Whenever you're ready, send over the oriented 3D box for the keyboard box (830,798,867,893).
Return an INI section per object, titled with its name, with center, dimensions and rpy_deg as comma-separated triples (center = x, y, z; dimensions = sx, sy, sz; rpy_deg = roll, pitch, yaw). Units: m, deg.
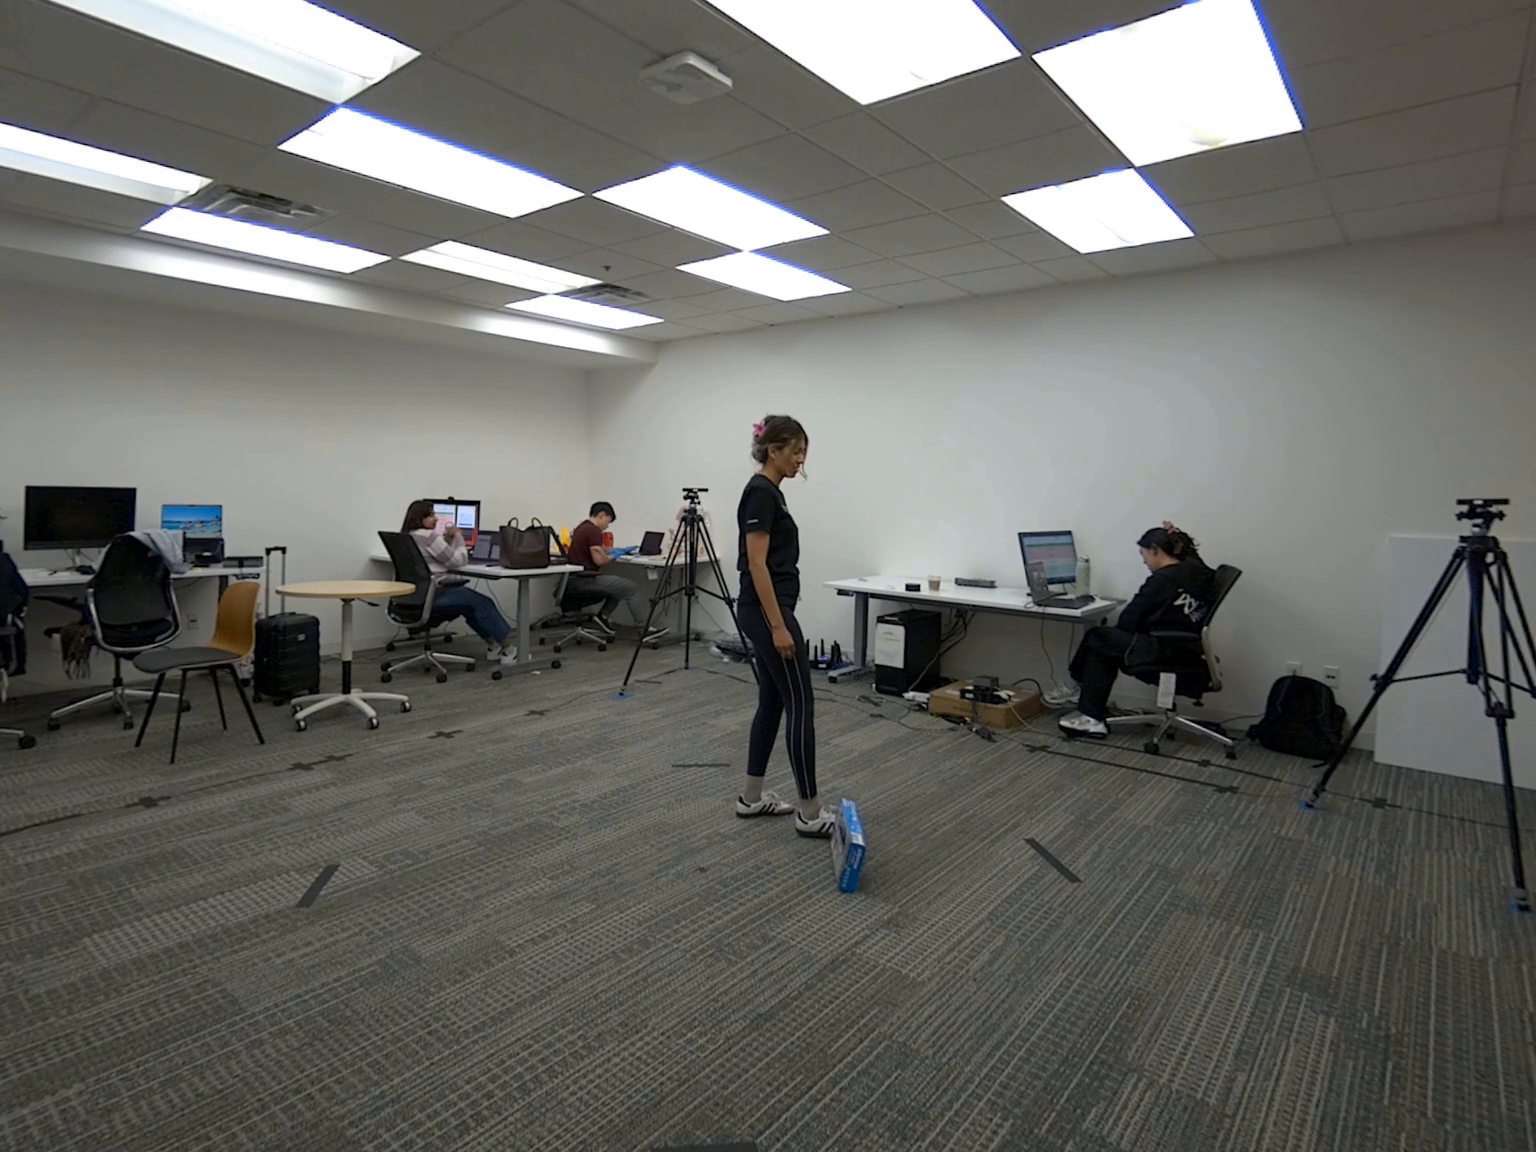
[keyboard box]
center = 0.287, 0.988, 3.163
dimensions = 0.059, 0.175, 0.437
rpy_deg = 13, 5, -1
